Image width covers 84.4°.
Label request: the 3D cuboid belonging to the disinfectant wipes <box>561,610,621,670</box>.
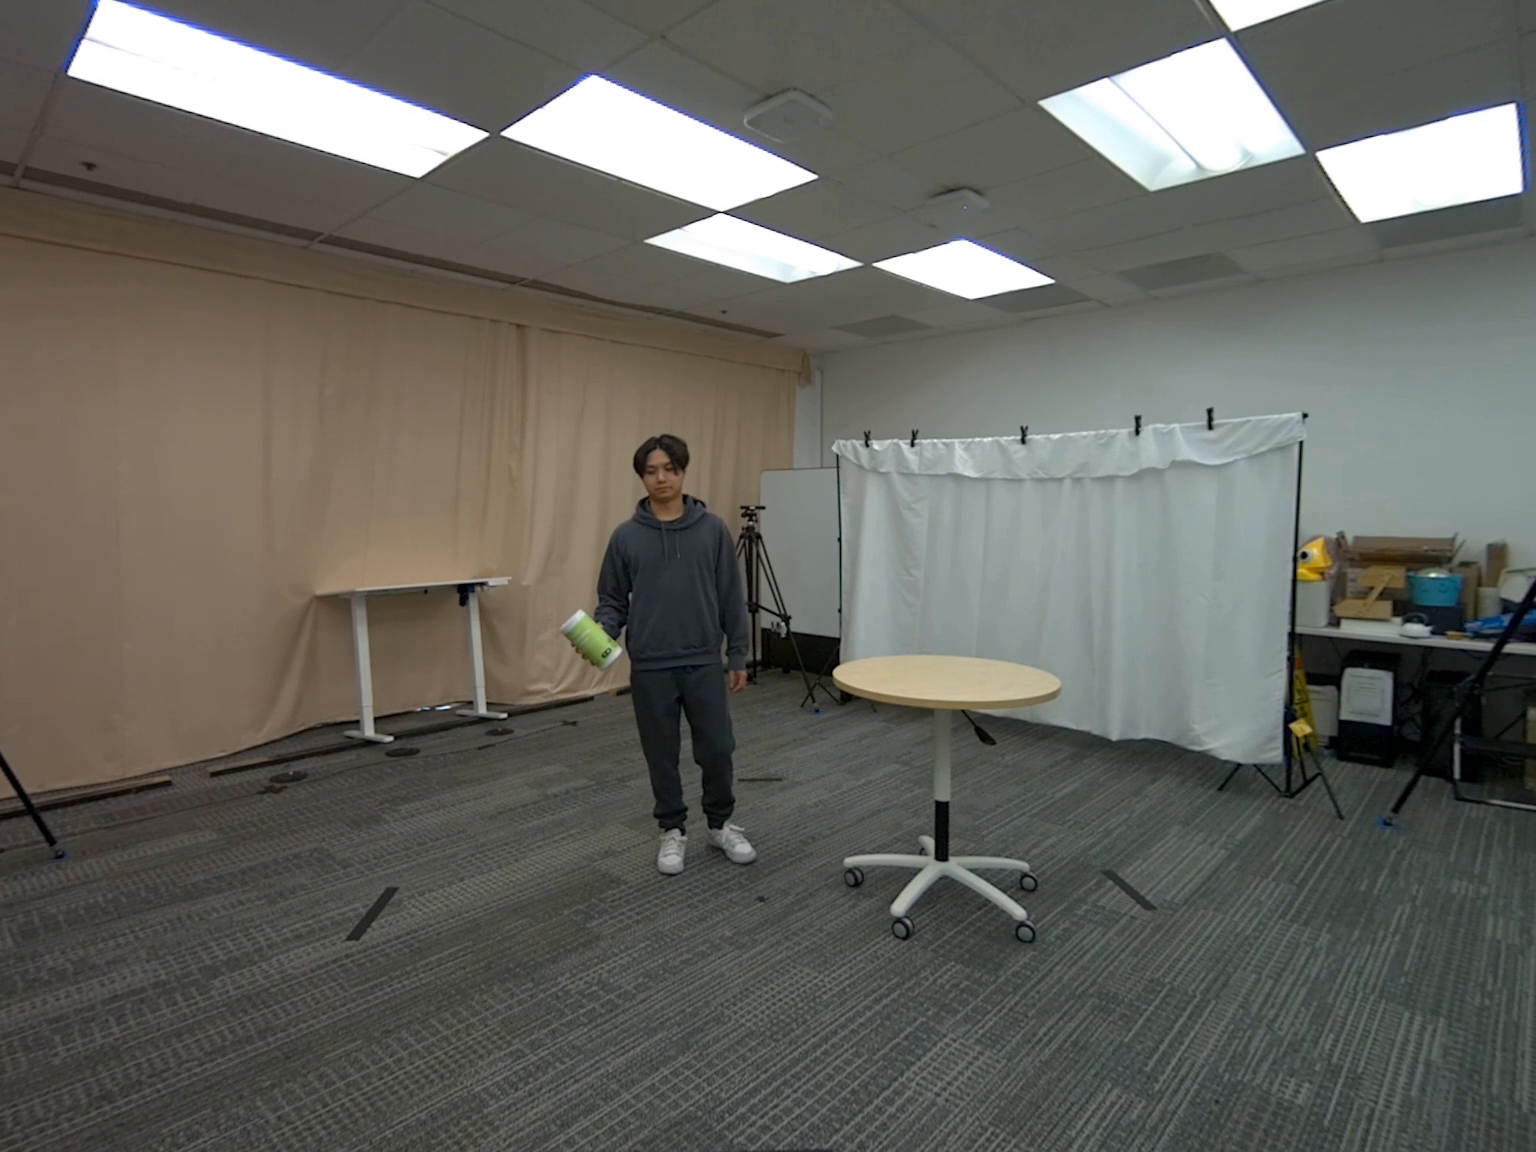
[{"bbox_3d":[-0.620,0.223,2.998,0.118,0.216,0.118,-44,7,5],"label":"disinfectant wipes"}]
